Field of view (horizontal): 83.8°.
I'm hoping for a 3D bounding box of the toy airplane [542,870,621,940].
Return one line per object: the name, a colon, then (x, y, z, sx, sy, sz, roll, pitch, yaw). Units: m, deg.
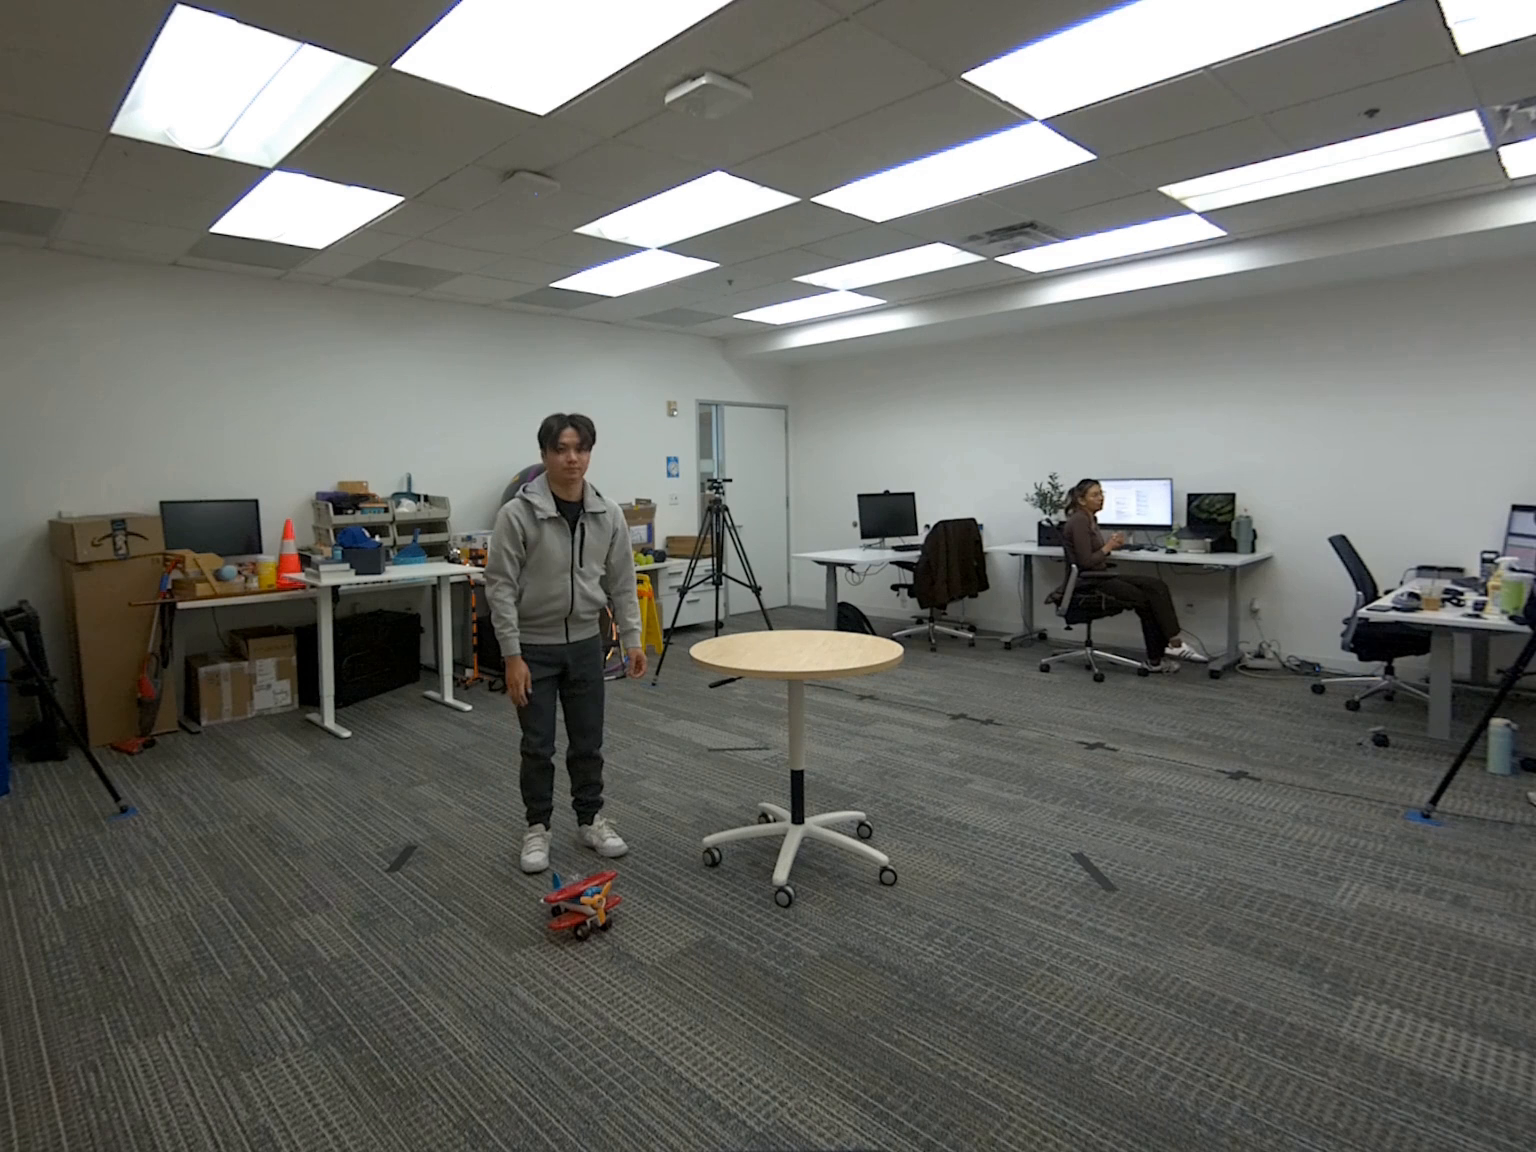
toy airplane: (-0.607, 1.033, 2.676, 0.263, 0.155, 0.248, 2, 8, 16)
